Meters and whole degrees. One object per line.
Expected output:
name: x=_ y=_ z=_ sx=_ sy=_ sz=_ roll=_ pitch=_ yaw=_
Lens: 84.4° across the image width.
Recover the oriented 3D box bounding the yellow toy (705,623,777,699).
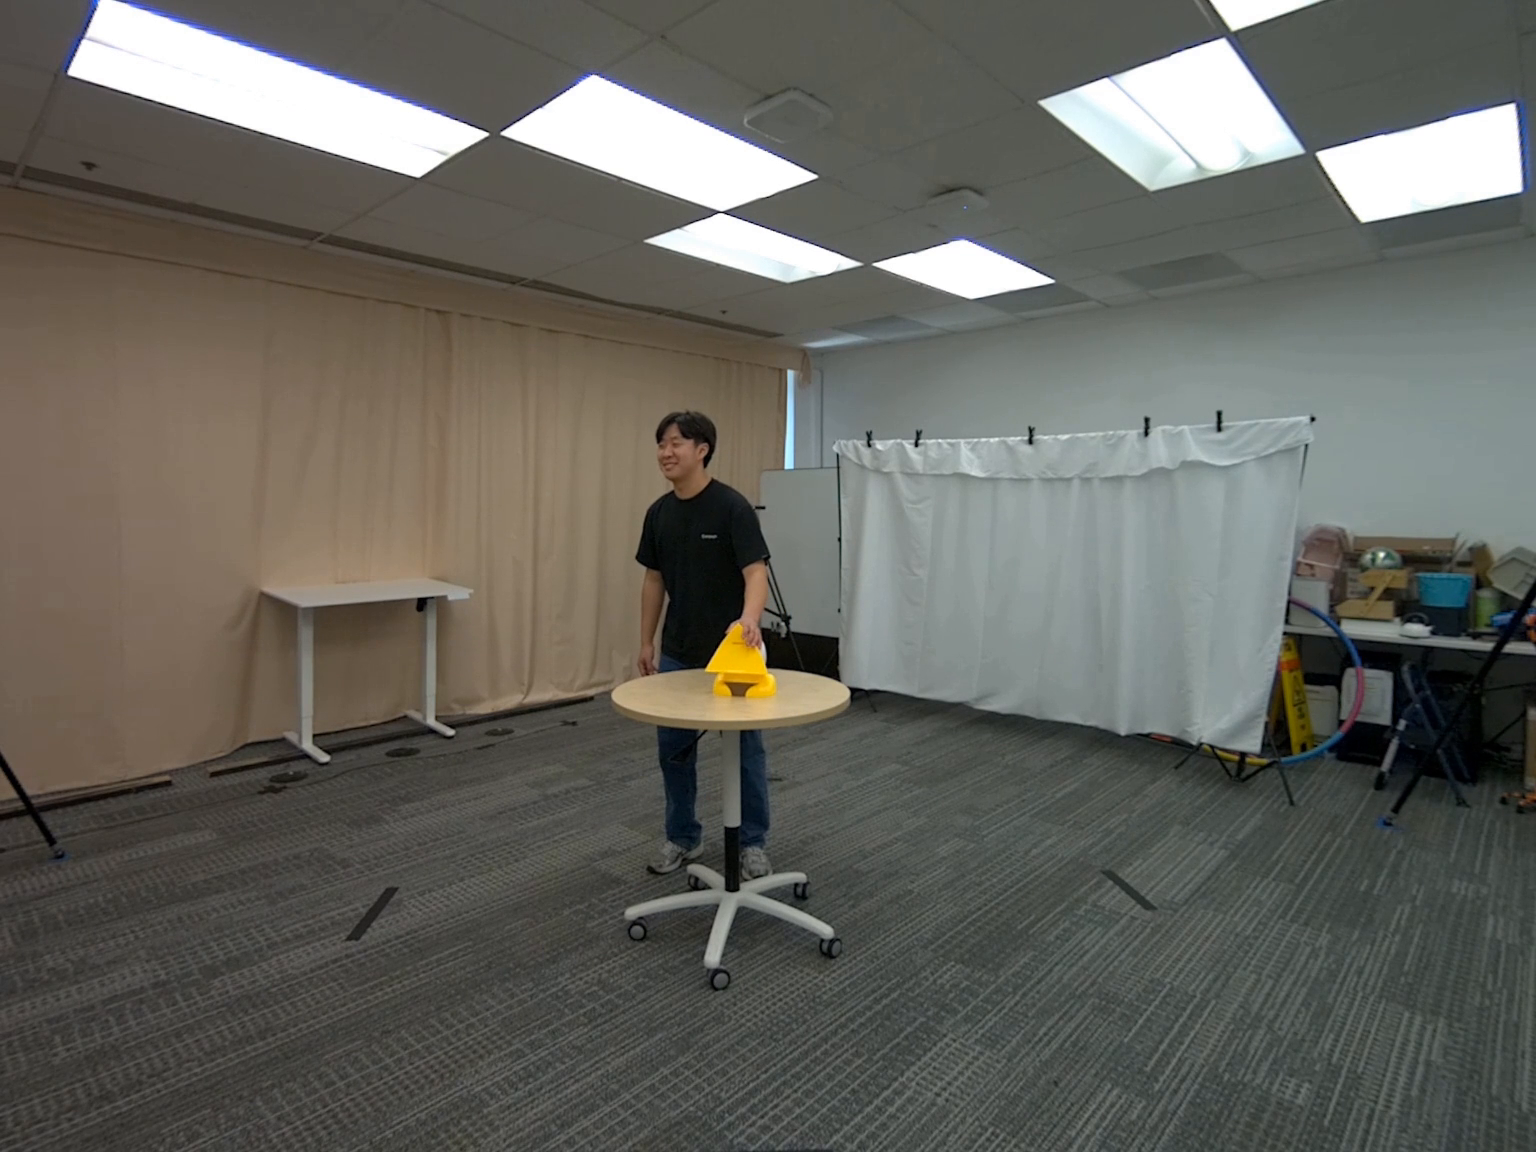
yellow toy: x=-0.075 y=0.259 z=2.696 sx=0.209 sy=0.230 sz=0.190 roll=1 pitch=4 yaw=17
